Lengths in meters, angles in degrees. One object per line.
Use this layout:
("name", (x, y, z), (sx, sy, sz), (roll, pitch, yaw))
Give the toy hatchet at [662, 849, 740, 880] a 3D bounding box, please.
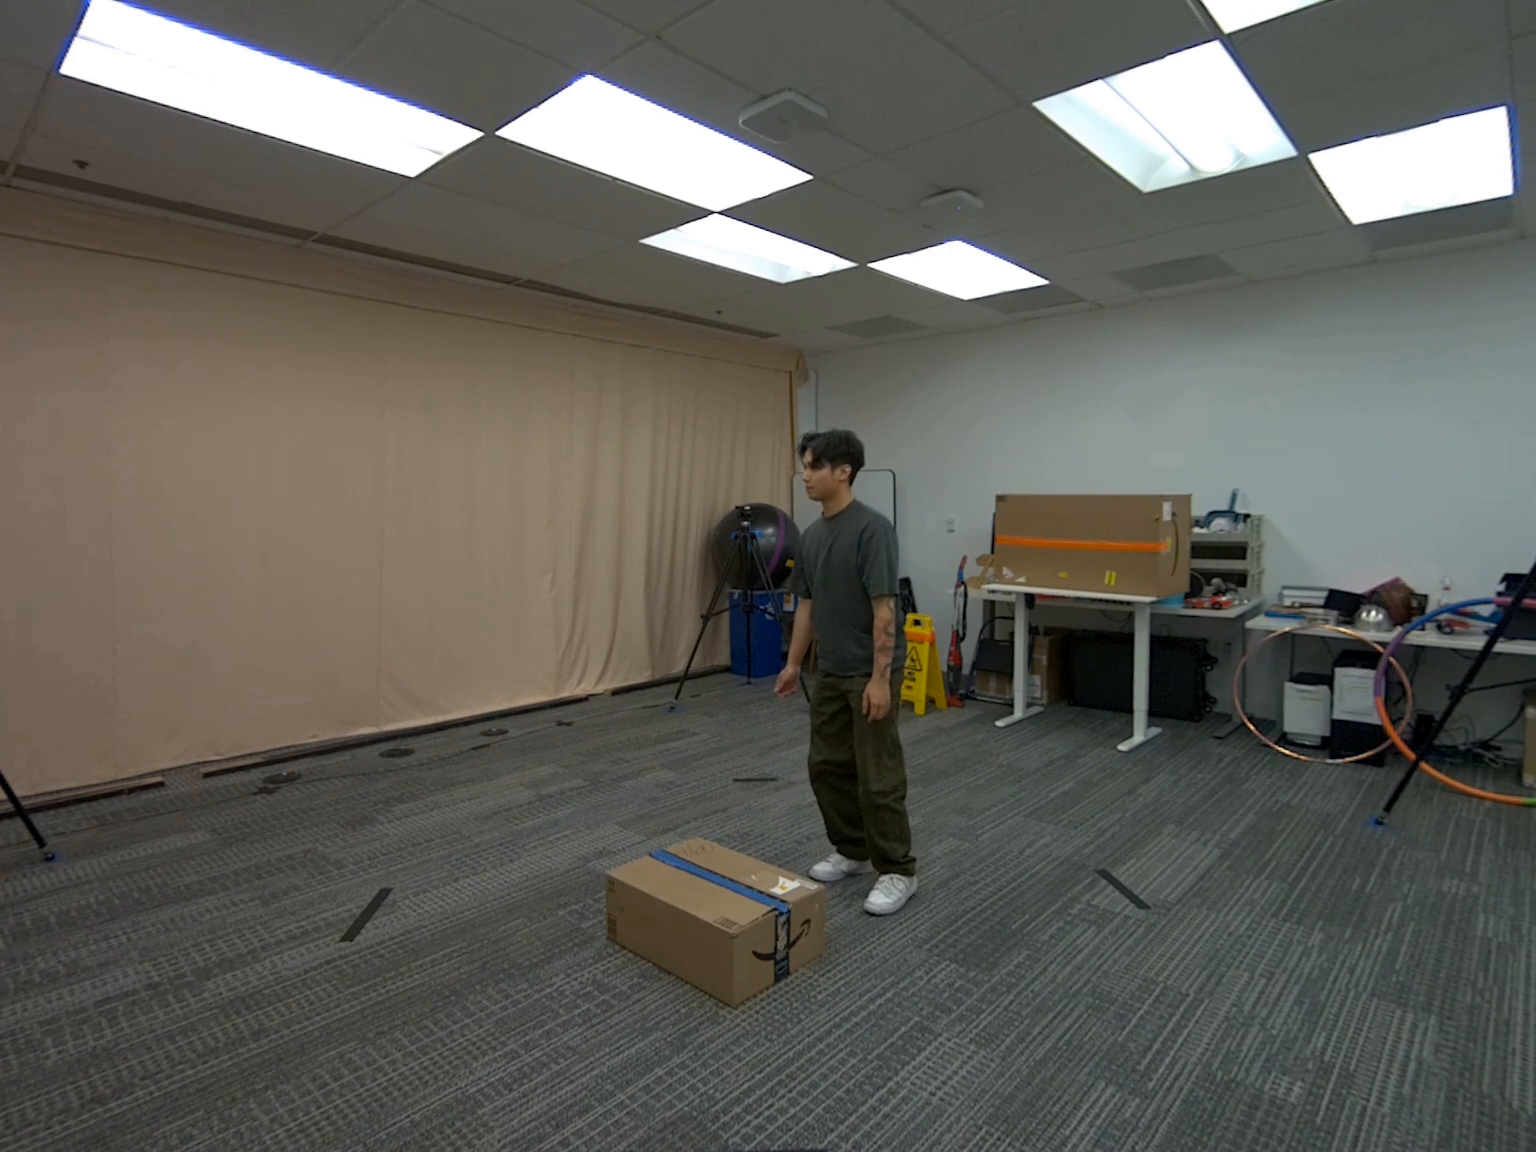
("toy hatchet", (-0.263, 1.115, 3.285), (0.263, 0.029, 0.134), (0, 3, -25))
